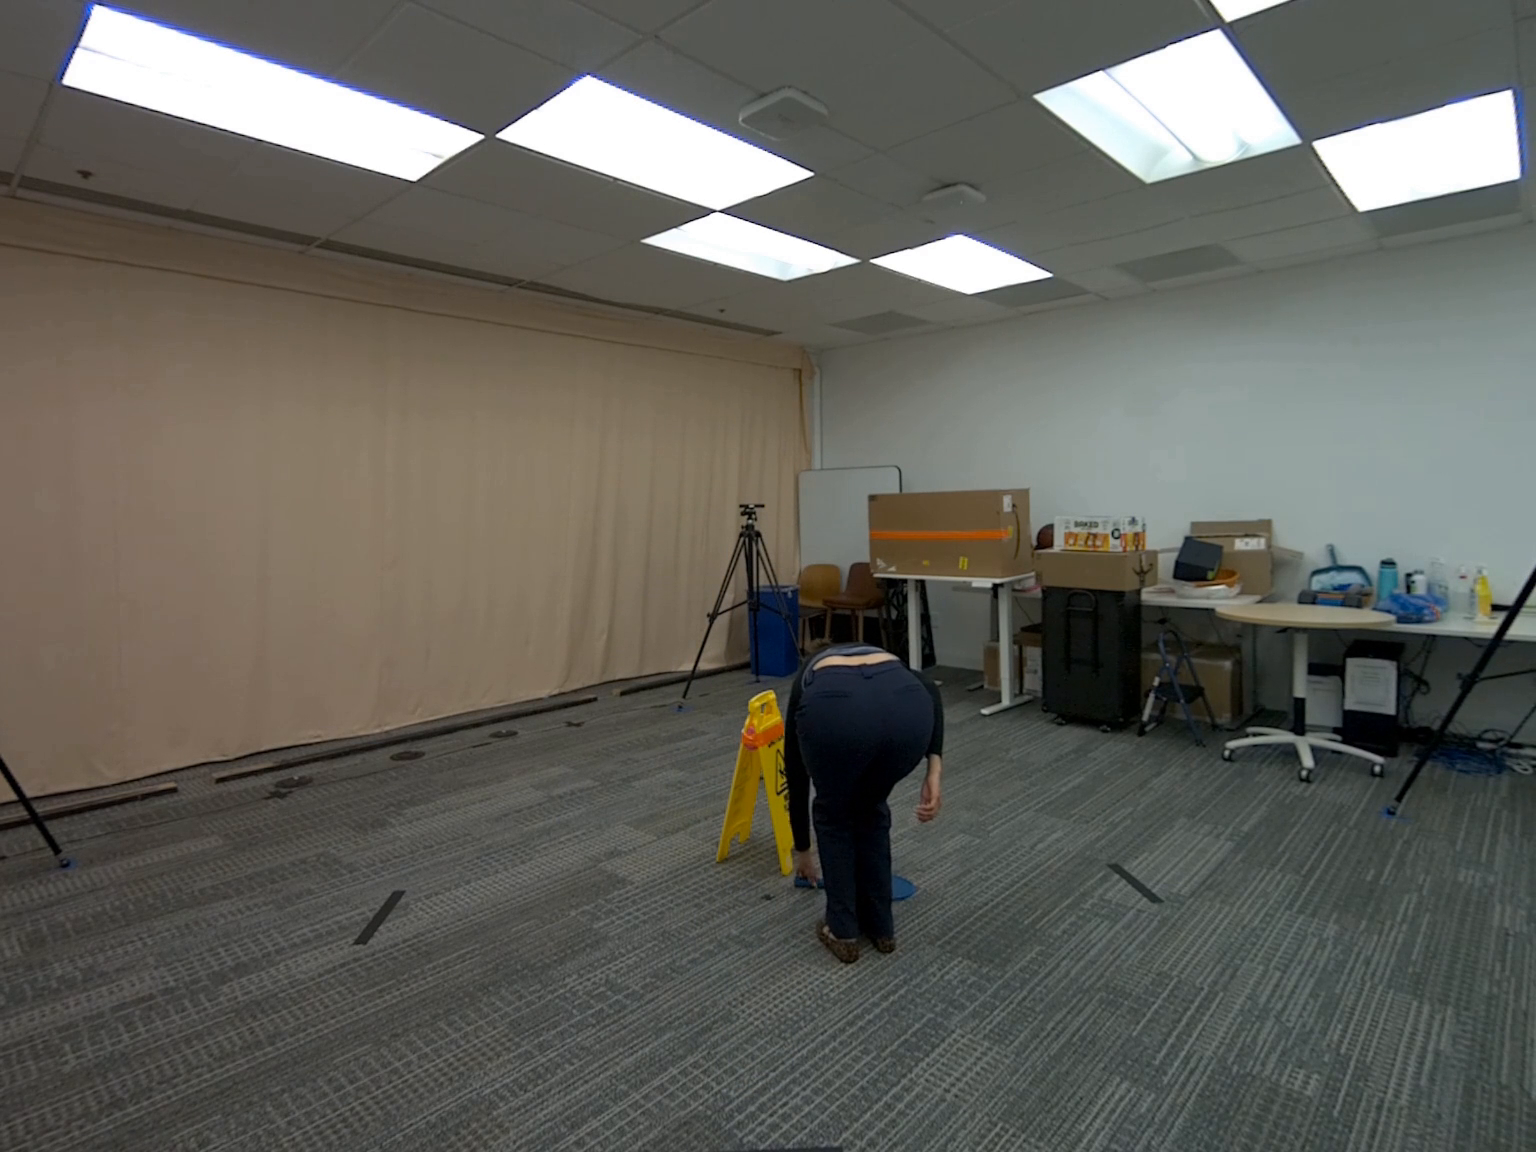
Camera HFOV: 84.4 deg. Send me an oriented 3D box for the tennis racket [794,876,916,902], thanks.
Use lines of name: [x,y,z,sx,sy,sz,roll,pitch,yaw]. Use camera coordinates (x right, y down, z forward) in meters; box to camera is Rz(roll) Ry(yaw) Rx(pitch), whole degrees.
tennis racket: [0.312,1.108,3.034,0.434,0.032,0.213,1,5,3]
